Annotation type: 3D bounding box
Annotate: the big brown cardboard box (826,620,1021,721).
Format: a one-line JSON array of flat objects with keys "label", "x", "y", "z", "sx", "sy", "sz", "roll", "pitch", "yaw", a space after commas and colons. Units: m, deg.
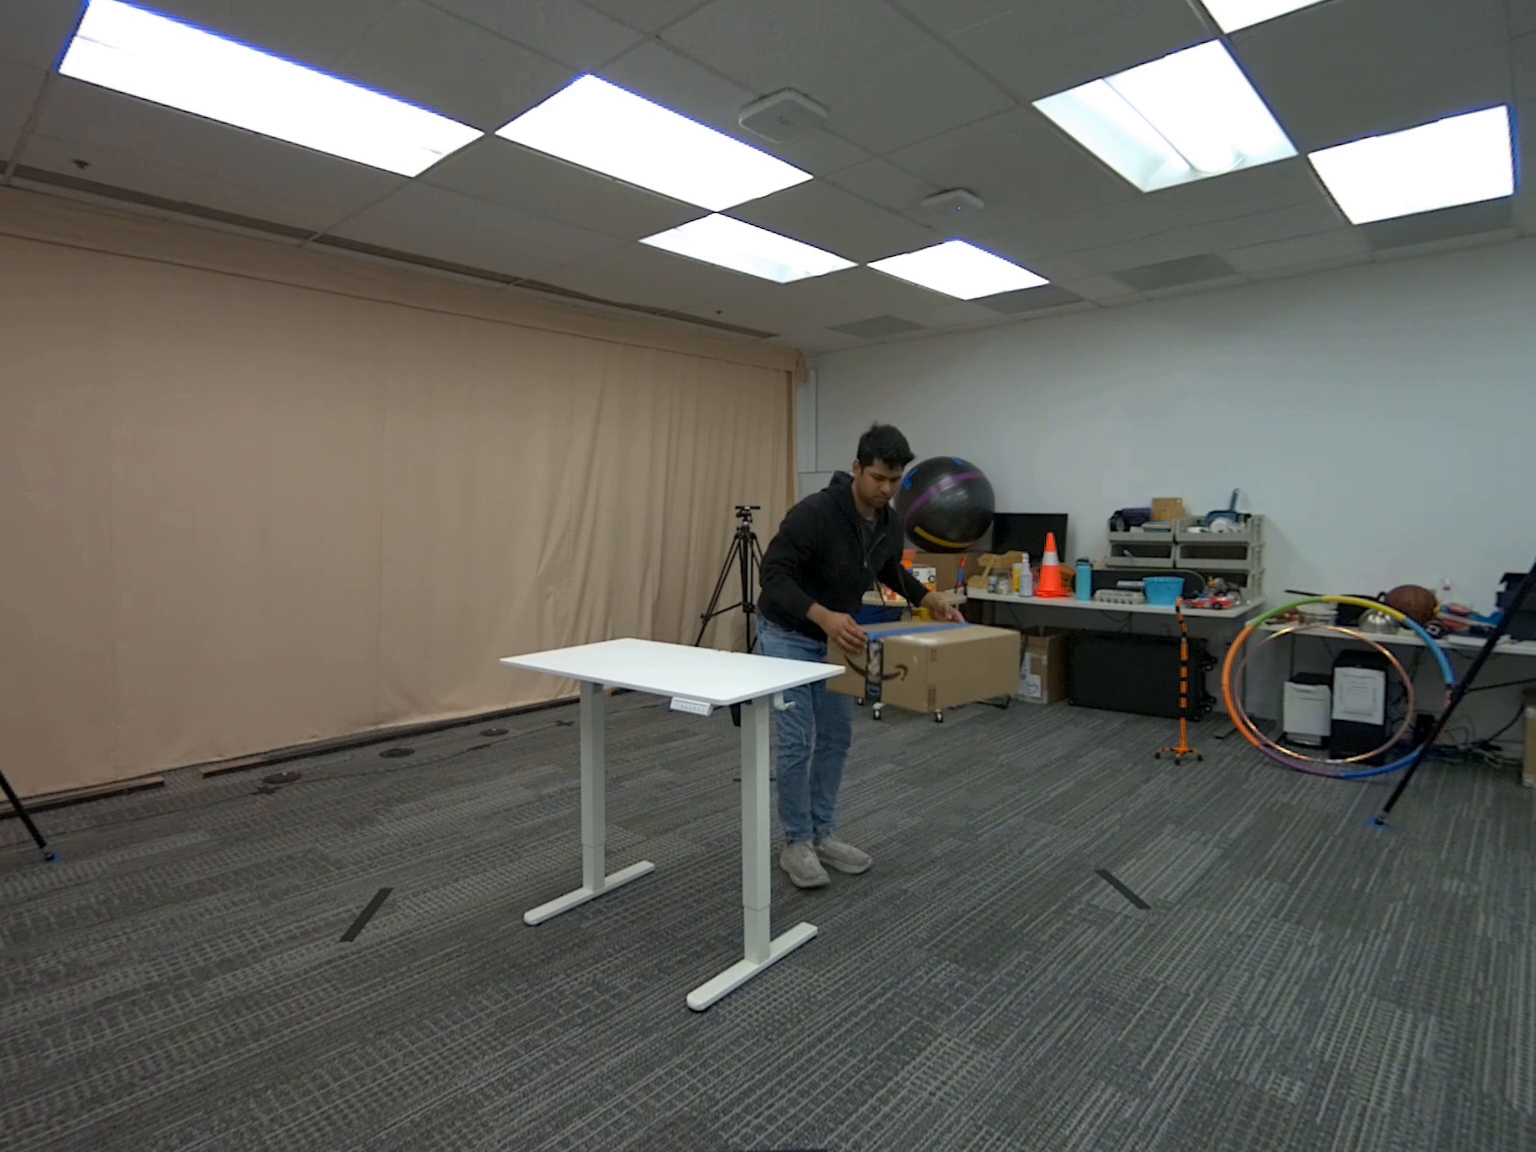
[{"label": "big brown cardboard box", "x": 0.547, "y": 0.309, "z": 2.948, "sx": 0.570, "sy": 0.233, "sz": 0.432, "roll": -1, "pitch": 4, "yaw": -44}]
